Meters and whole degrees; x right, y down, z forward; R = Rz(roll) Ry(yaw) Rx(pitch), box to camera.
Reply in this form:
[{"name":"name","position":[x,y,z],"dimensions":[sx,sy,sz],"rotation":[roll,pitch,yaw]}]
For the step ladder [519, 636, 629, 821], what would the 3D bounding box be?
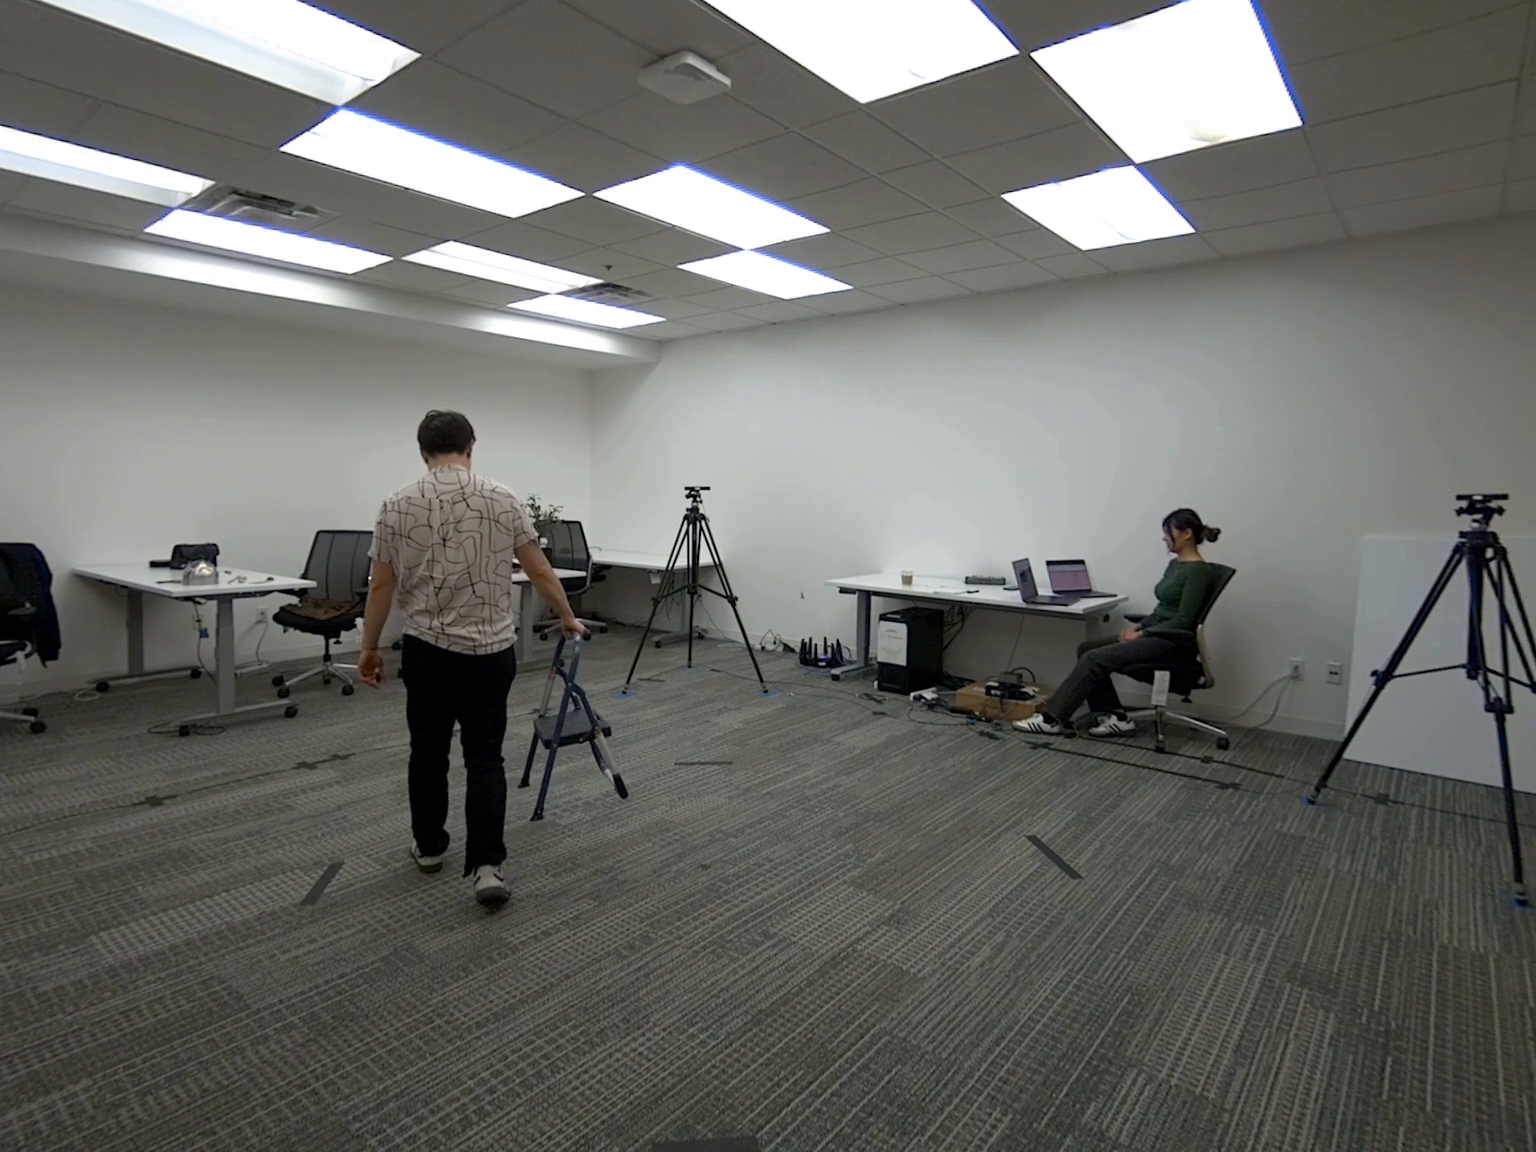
[{"name":"step ladder","position":[-0.781,0.508,3.157],"dimensions":[0.343,0.604,0.440],"rotation":[-8,4,-22]}]
